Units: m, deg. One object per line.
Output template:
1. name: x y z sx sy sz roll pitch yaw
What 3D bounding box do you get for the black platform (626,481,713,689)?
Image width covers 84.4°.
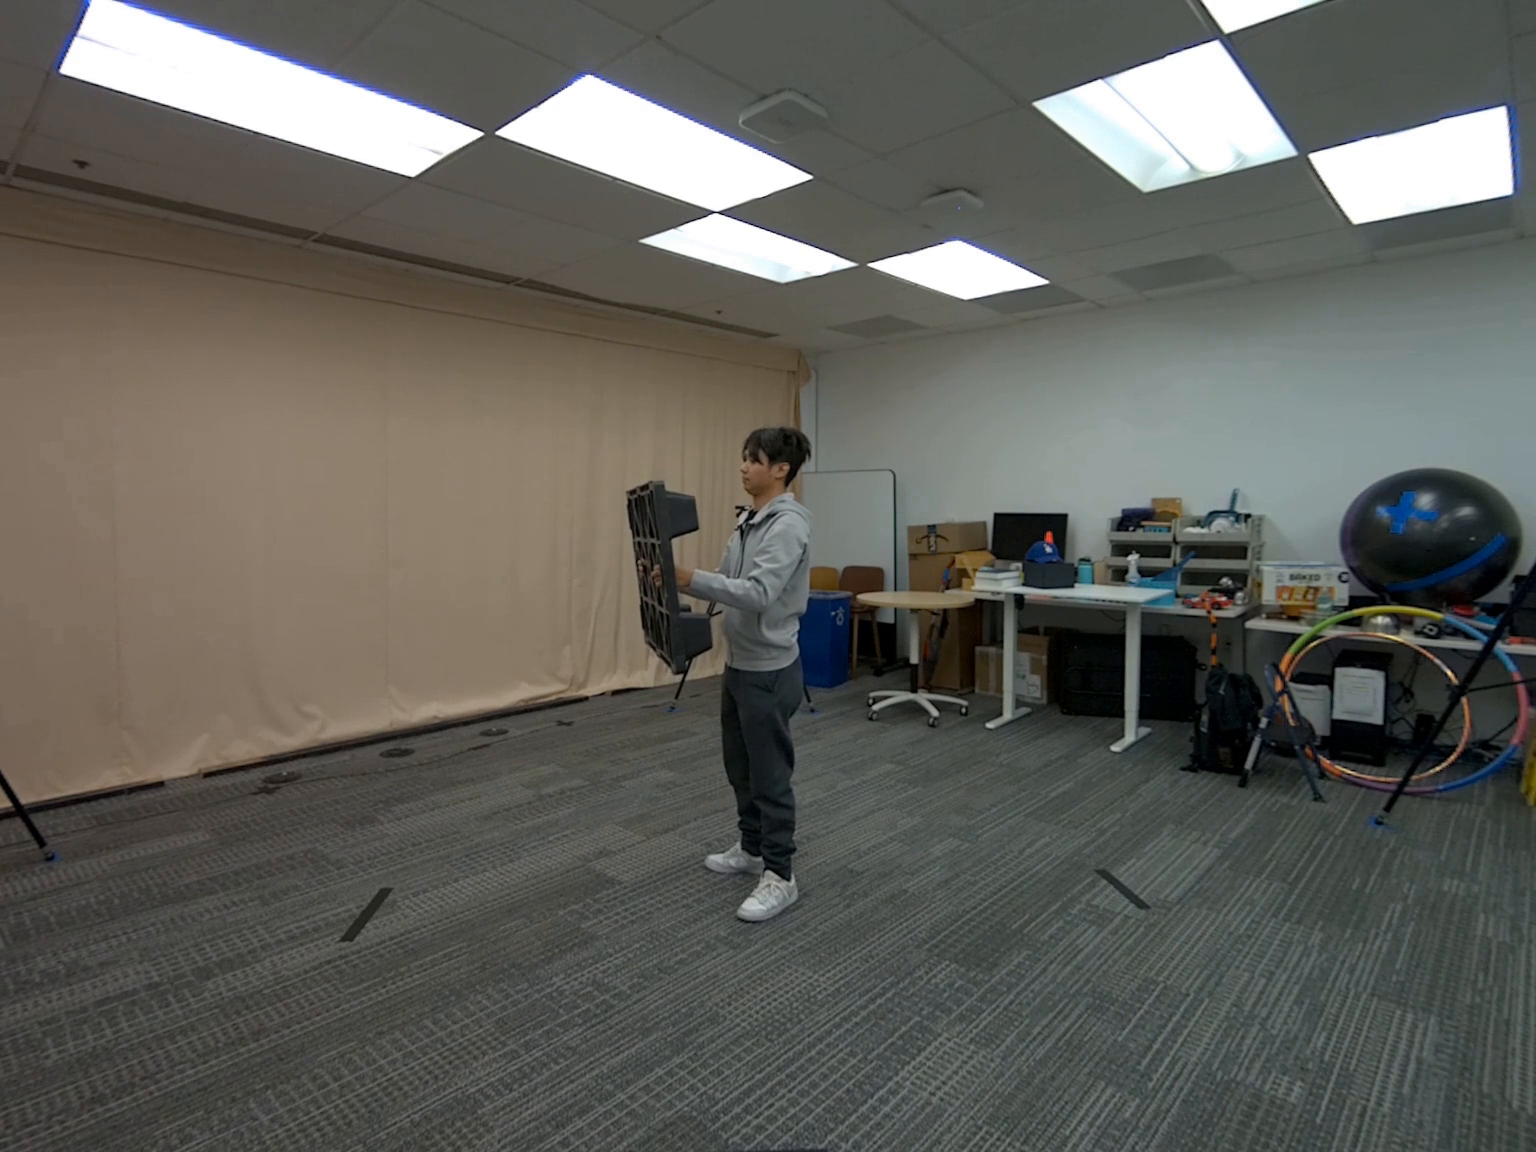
1. black platform: -0.351 -0.017 2.933 0.141 0.604 0.818 -7 4 -14
